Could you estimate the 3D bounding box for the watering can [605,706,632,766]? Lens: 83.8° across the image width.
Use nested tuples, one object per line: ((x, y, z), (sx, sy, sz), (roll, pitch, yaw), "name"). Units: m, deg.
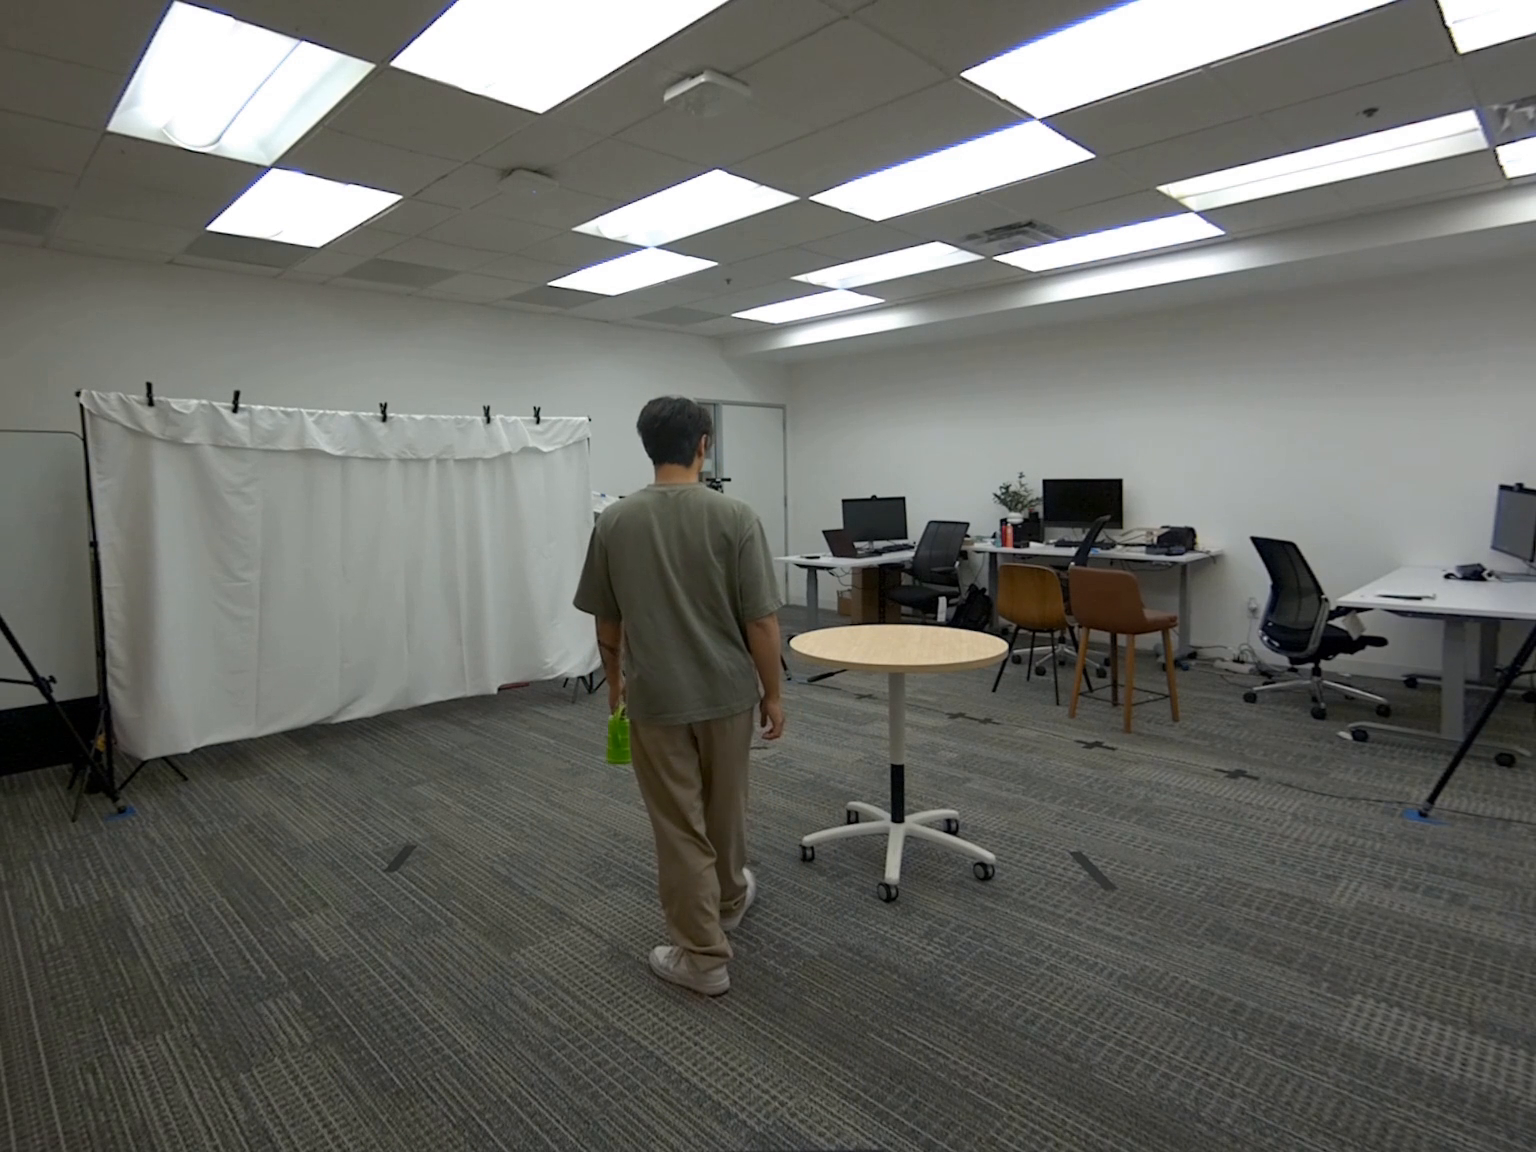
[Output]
((-0.438, 0.486, 2.708), (0.099, 0.177, 0.275), (0, 1, 10), "watering can")
